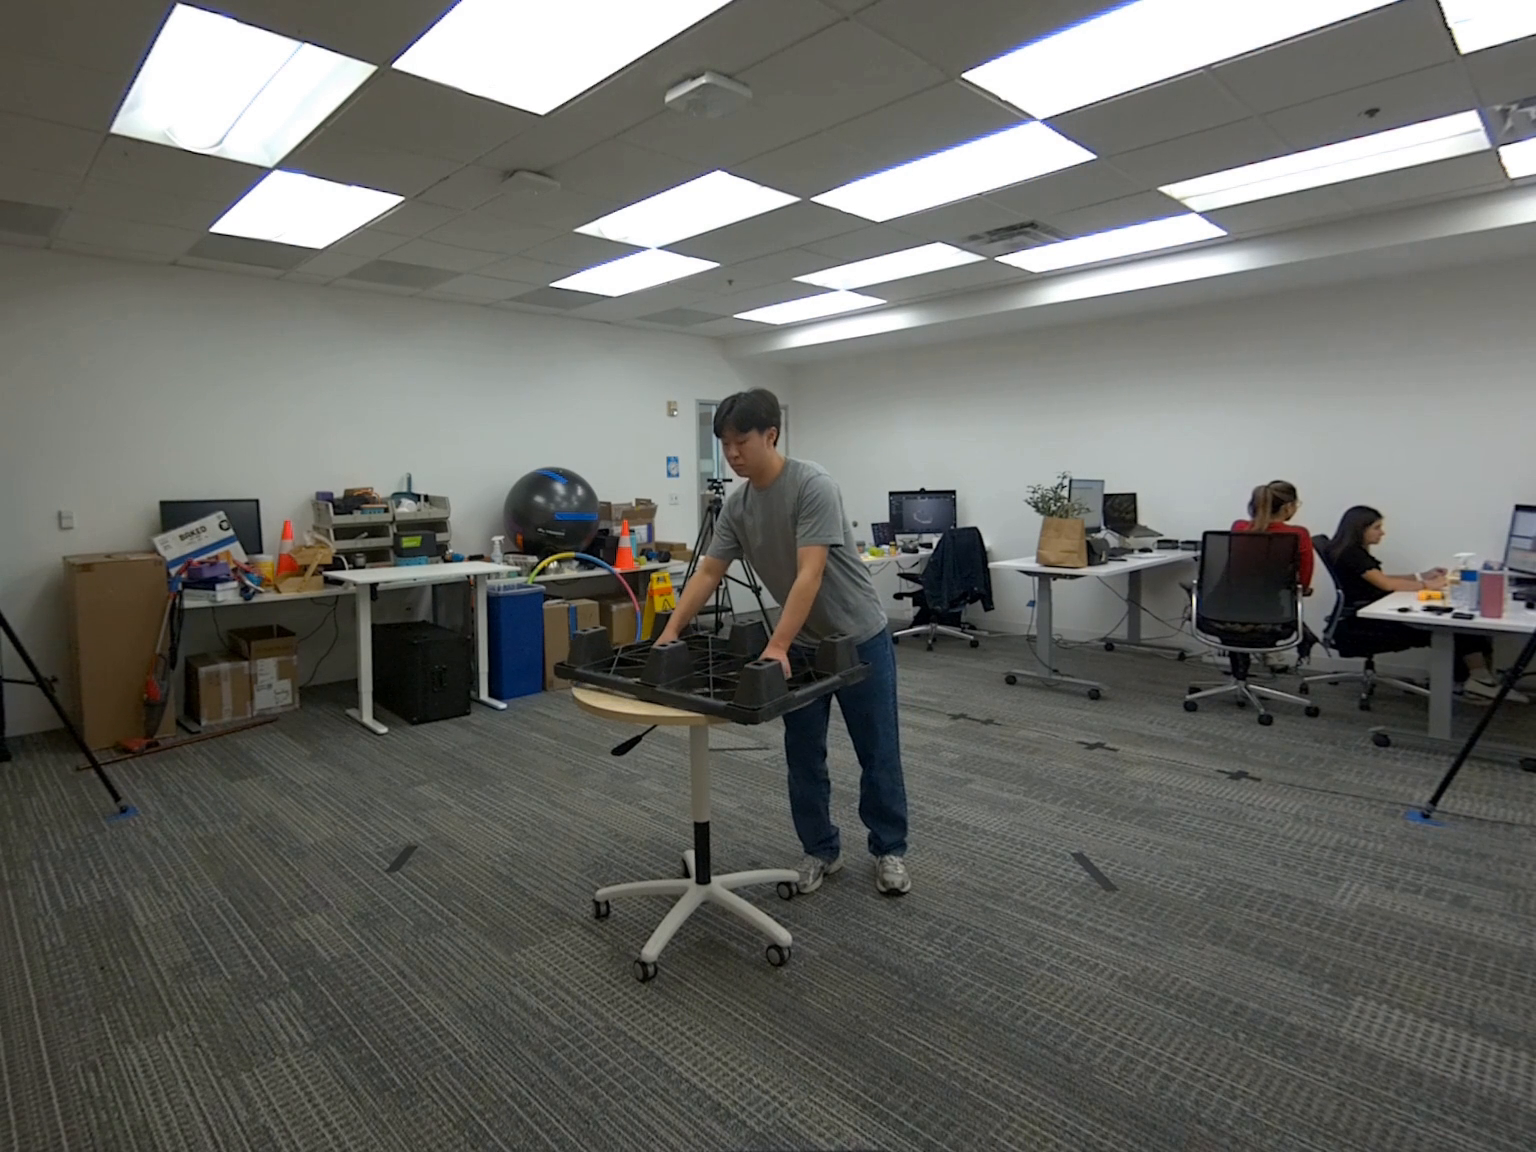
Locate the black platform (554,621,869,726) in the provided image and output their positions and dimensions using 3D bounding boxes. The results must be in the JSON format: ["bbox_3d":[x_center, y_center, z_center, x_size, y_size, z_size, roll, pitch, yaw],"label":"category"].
[{"bbox_3d":[-0.168,0.240,2.621,0.830,0.142,0.591,6,12,37],"label":"black platform"}]
